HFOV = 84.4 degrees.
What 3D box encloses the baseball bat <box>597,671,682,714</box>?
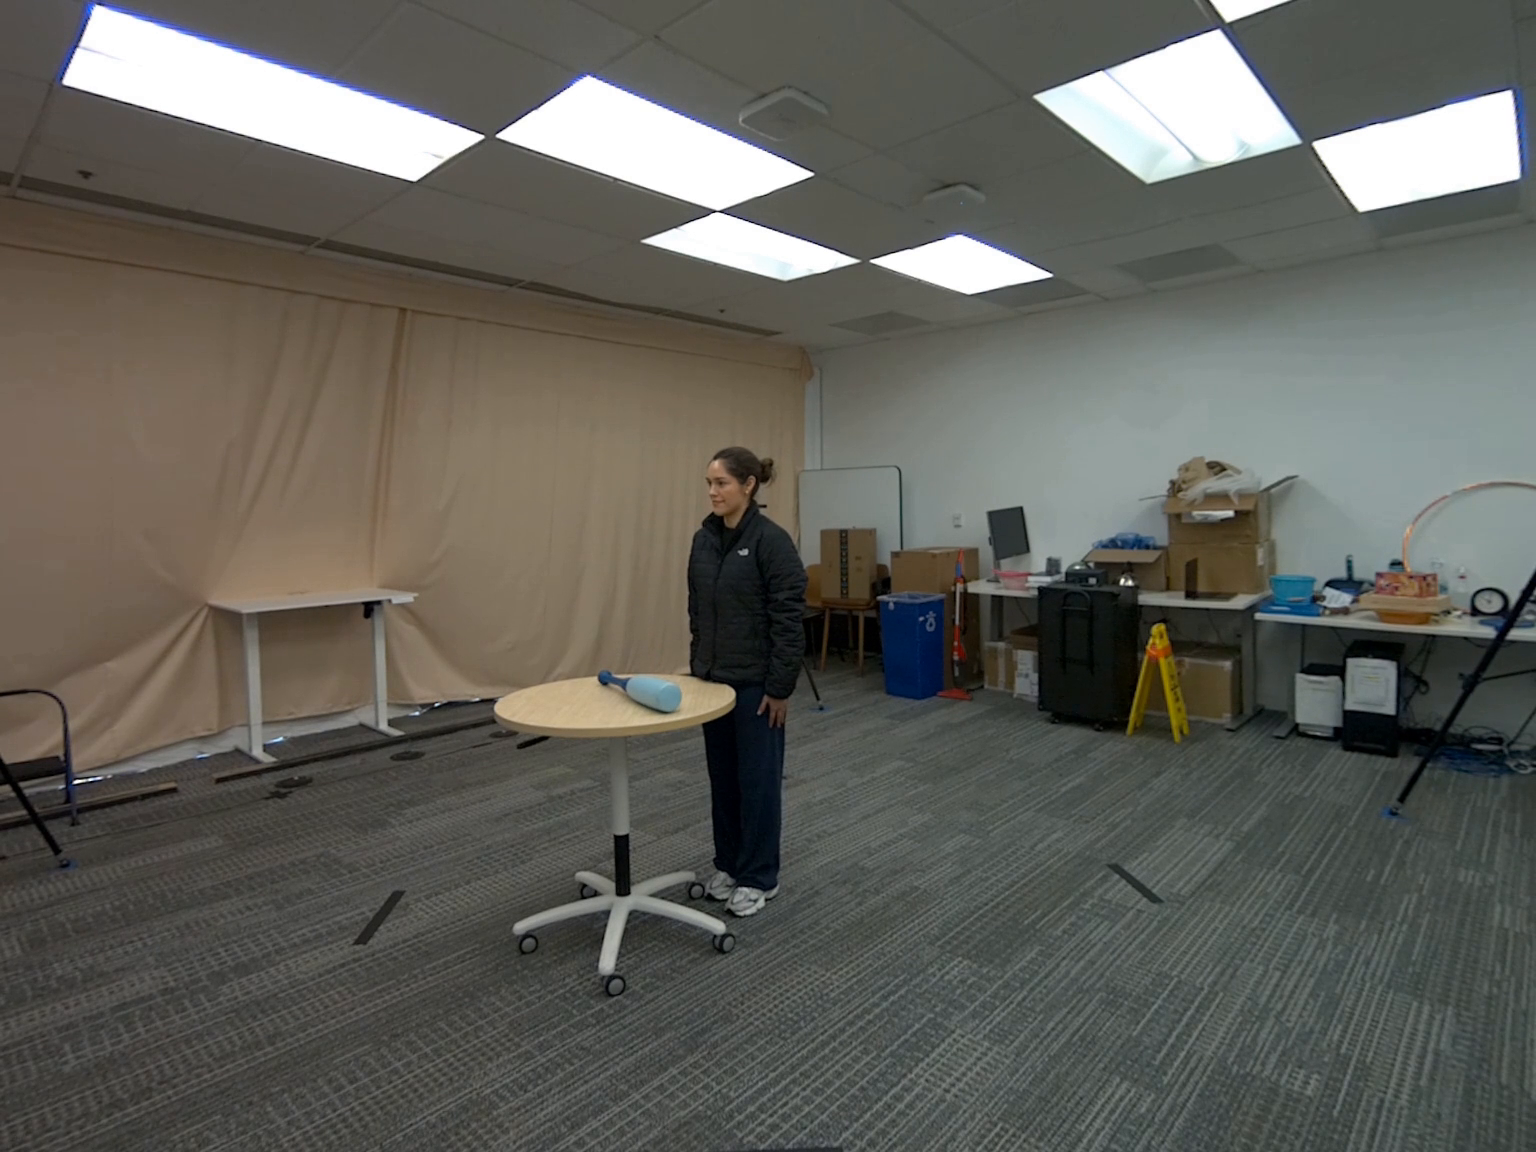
[{"bbox_3d":[-0.413,0.355,2.685,0.087,0.089,0.557,-3,2,-29],"label":"baseball bat"}]
